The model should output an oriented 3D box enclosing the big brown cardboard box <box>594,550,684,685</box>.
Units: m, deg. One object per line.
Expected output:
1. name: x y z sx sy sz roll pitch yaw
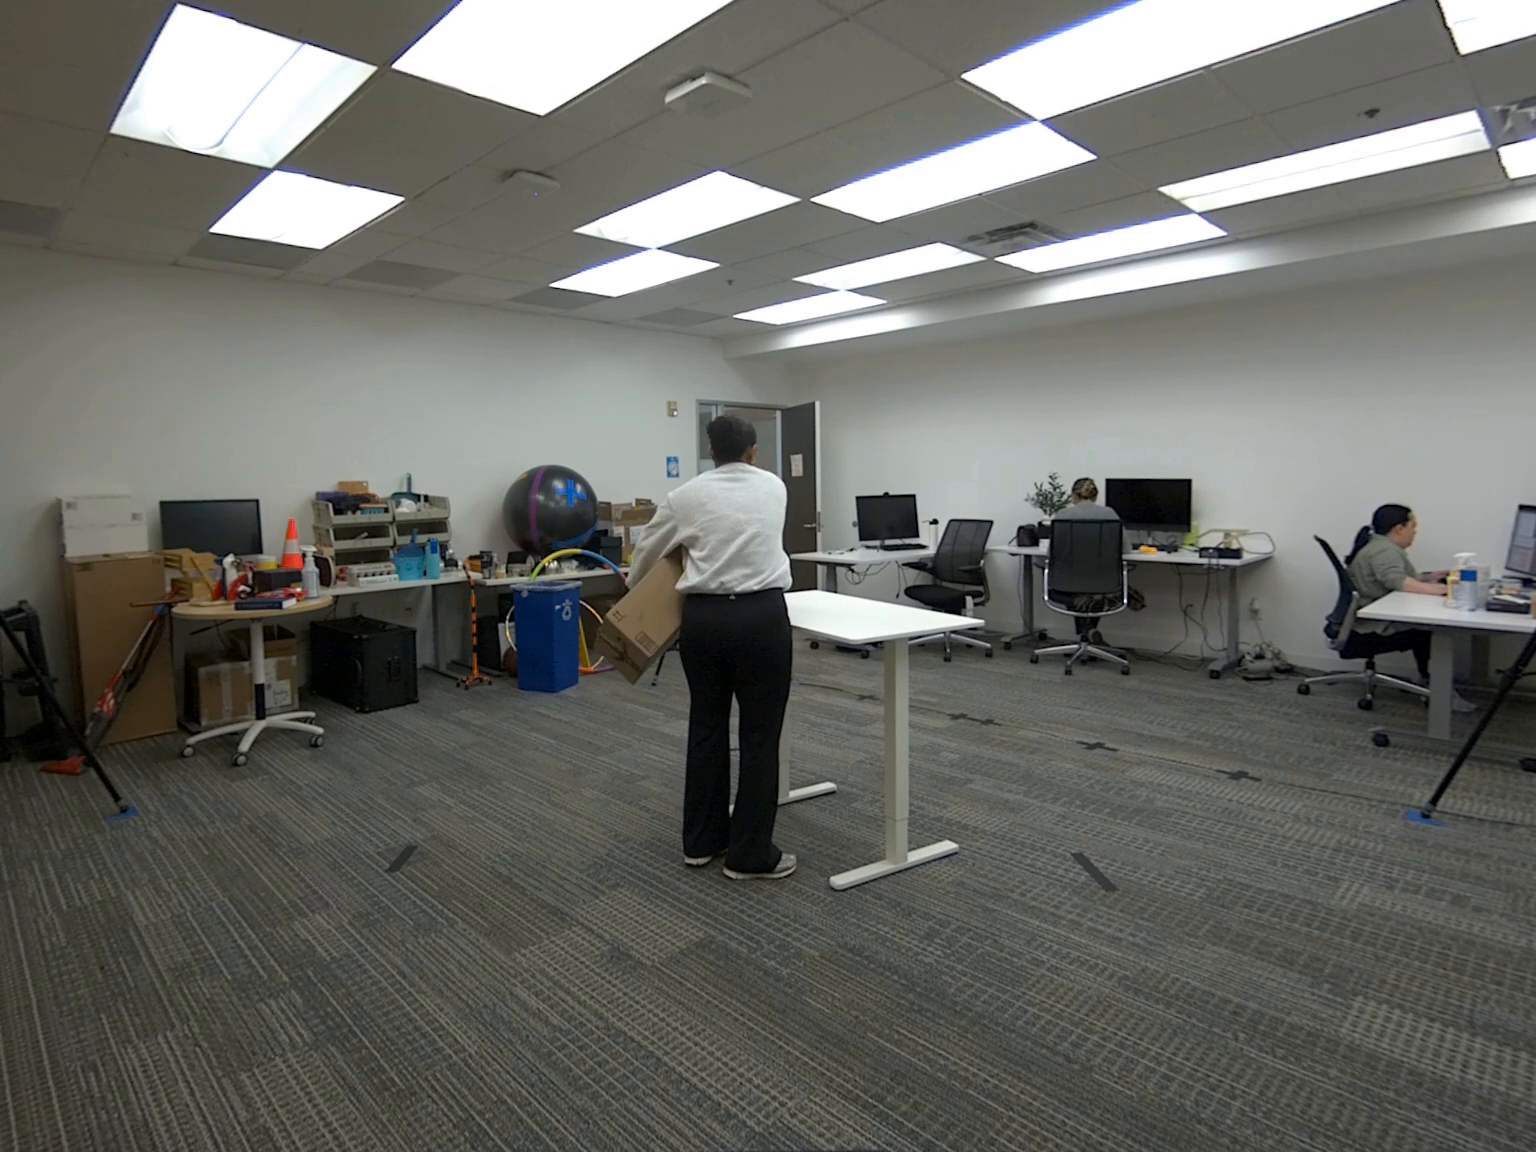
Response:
1. big brown cardboard box: -0.360 0.084 3.239 0.589 0.234 0.416 -48 -1 -27
